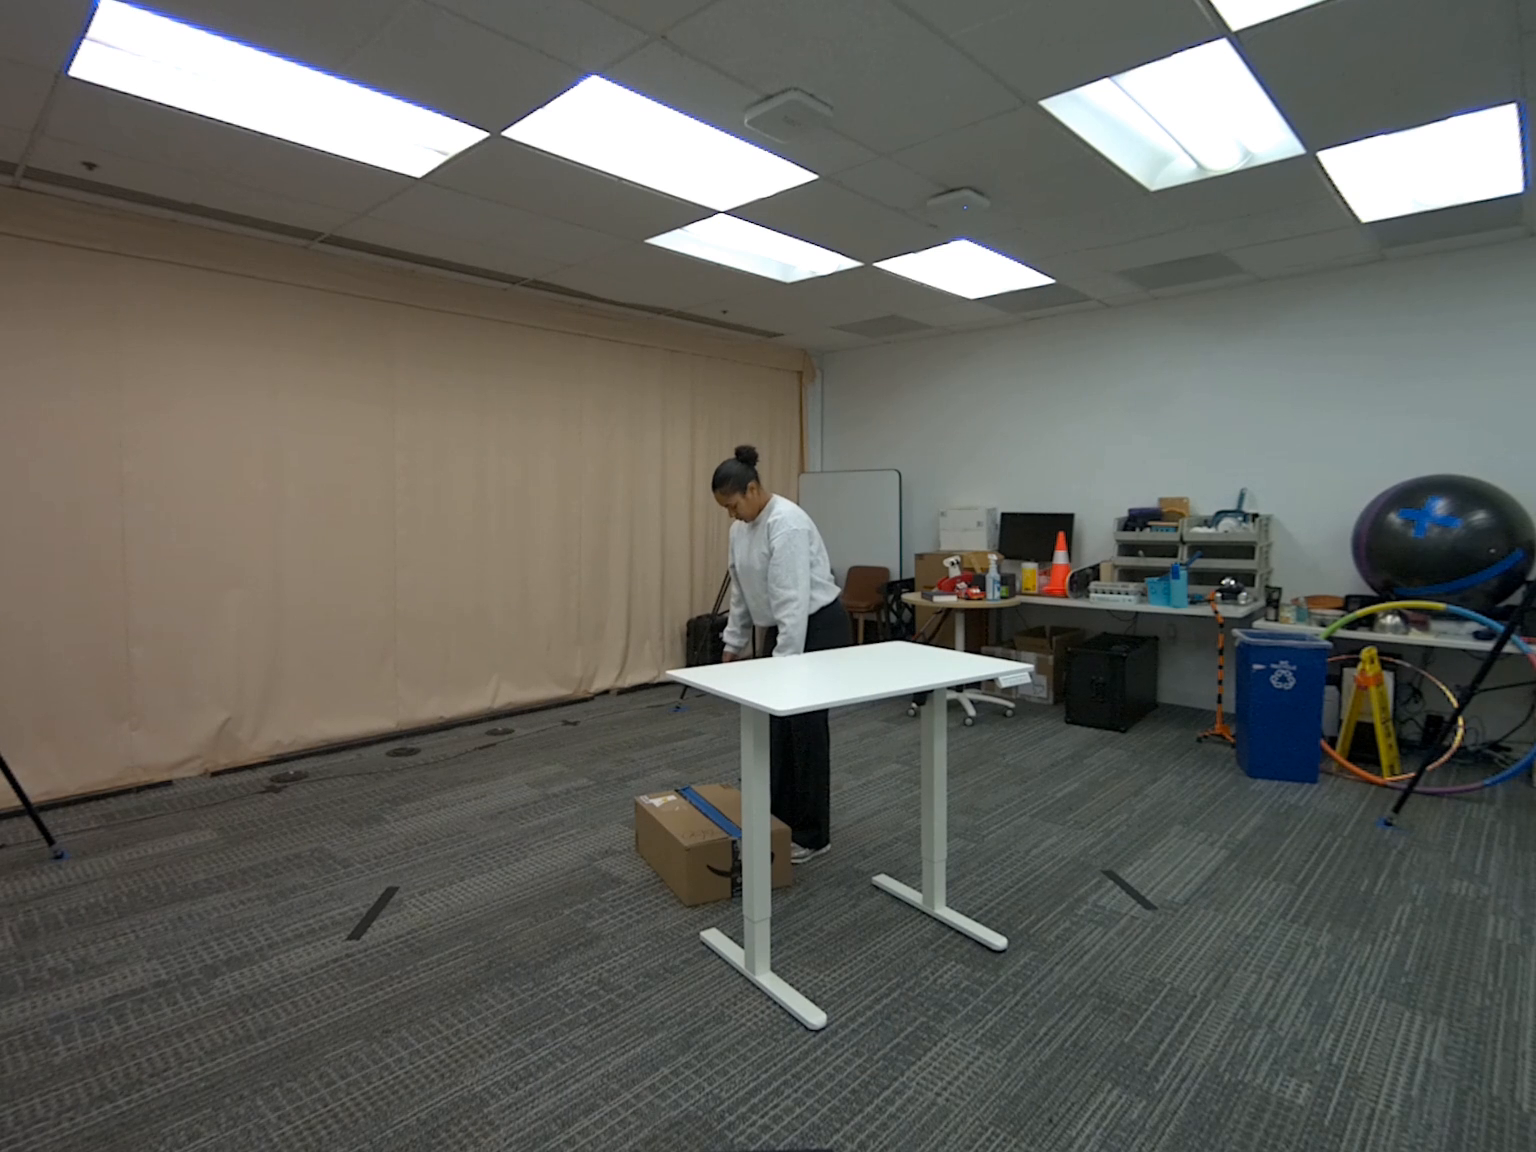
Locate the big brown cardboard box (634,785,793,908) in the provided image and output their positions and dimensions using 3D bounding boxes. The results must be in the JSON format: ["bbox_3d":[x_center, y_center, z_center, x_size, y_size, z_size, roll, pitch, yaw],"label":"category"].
[{"bbox_3d":[-0.229,1.011,3.250,0.407,0.232,0.605,-3,6,-27],"label":"big brown cardboard box"}]
